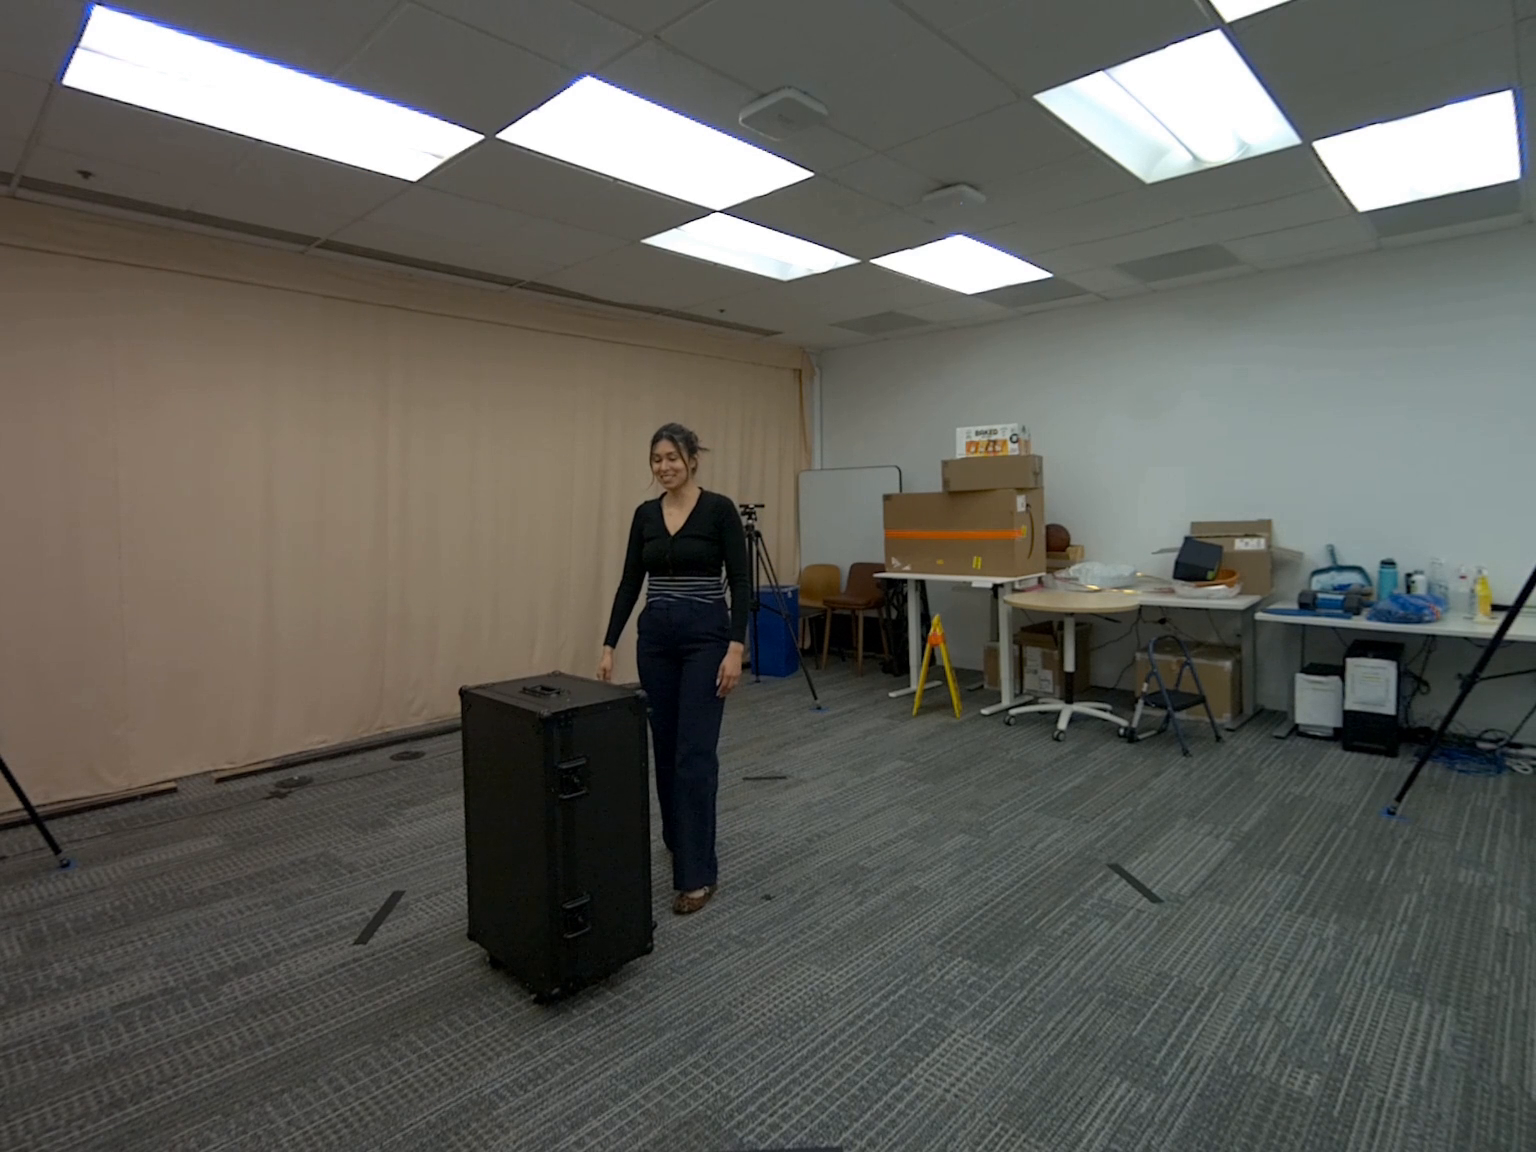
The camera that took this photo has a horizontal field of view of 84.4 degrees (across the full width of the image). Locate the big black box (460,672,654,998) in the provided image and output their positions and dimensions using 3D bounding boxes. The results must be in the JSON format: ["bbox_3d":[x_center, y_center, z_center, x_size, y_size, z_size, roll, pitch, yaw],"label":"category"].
[{"bbox_3d":[-0.638,0.767,2.545,0.384,0.860,0.538,-3,4,-45],"label":"big black box"}]
